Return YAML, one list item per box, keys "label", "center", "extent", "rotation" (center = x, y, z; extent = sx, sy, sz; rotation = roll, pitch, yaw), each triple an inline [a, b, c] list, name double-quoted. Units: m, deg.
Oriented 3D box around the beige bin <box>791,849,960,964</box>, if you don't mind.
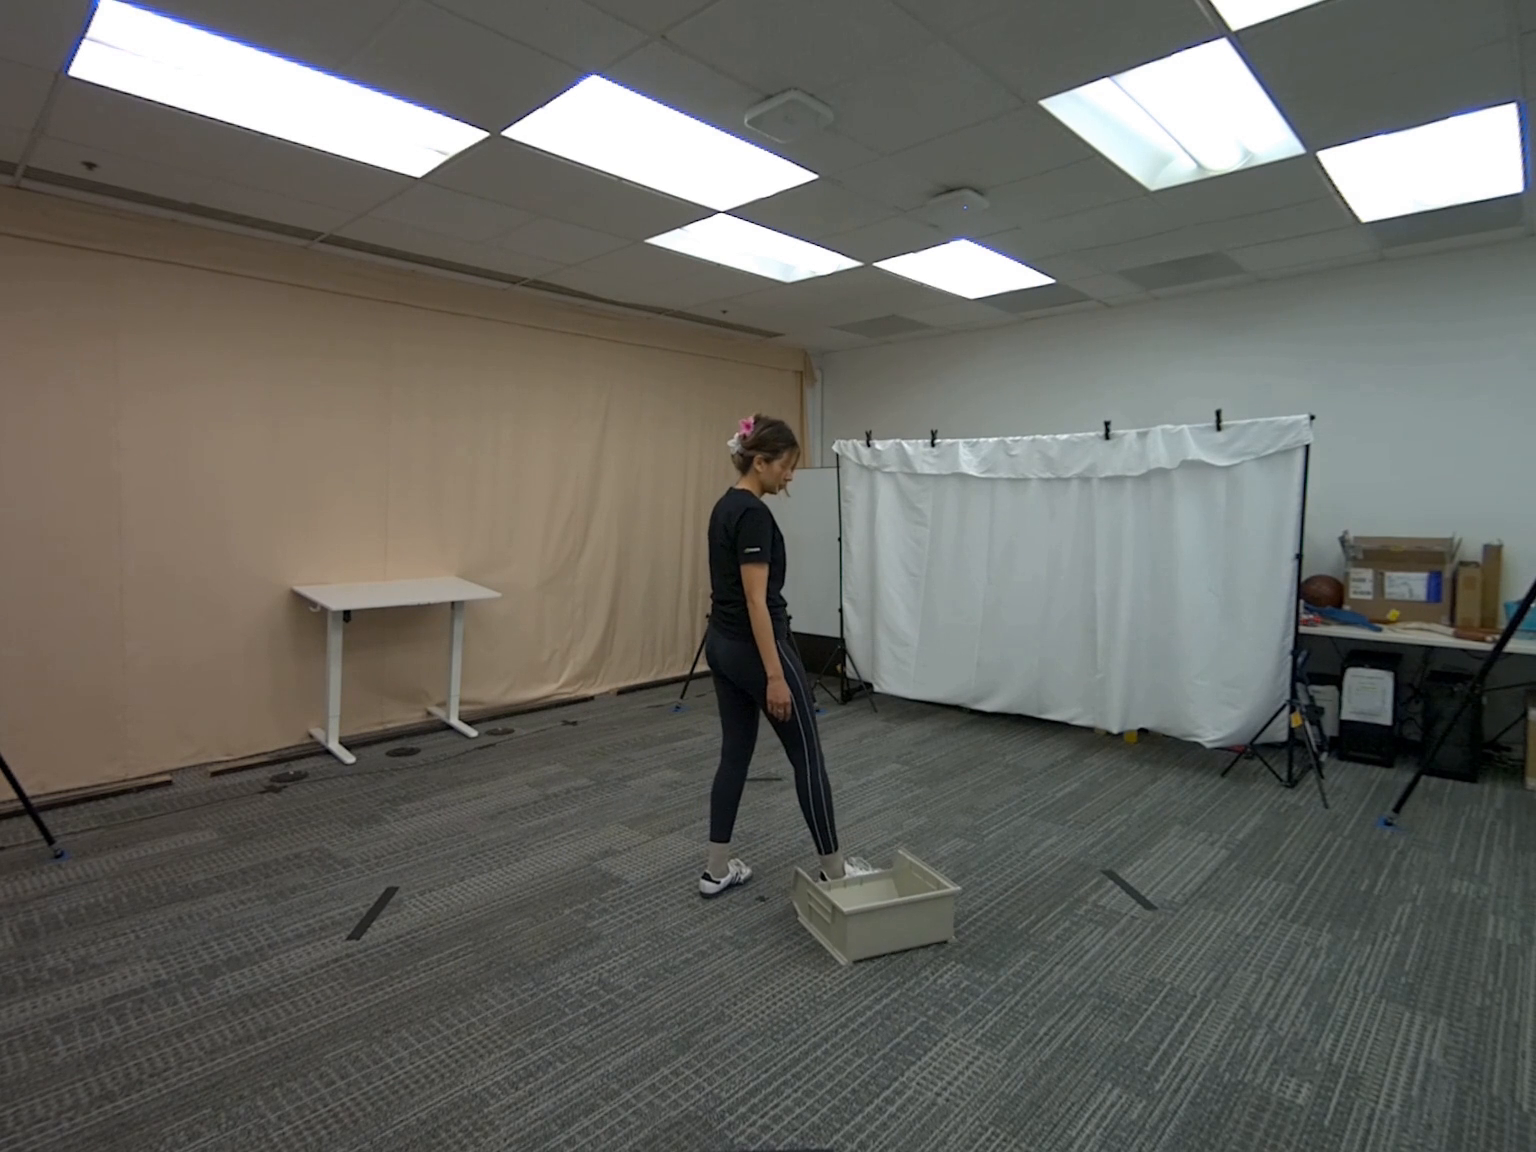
- label: "beige bin"
  center: [0.350, 1.071, 2.770]
  extent: [0.413, 0.188, 0.387]
  rotation: [-2, 6, -23]
